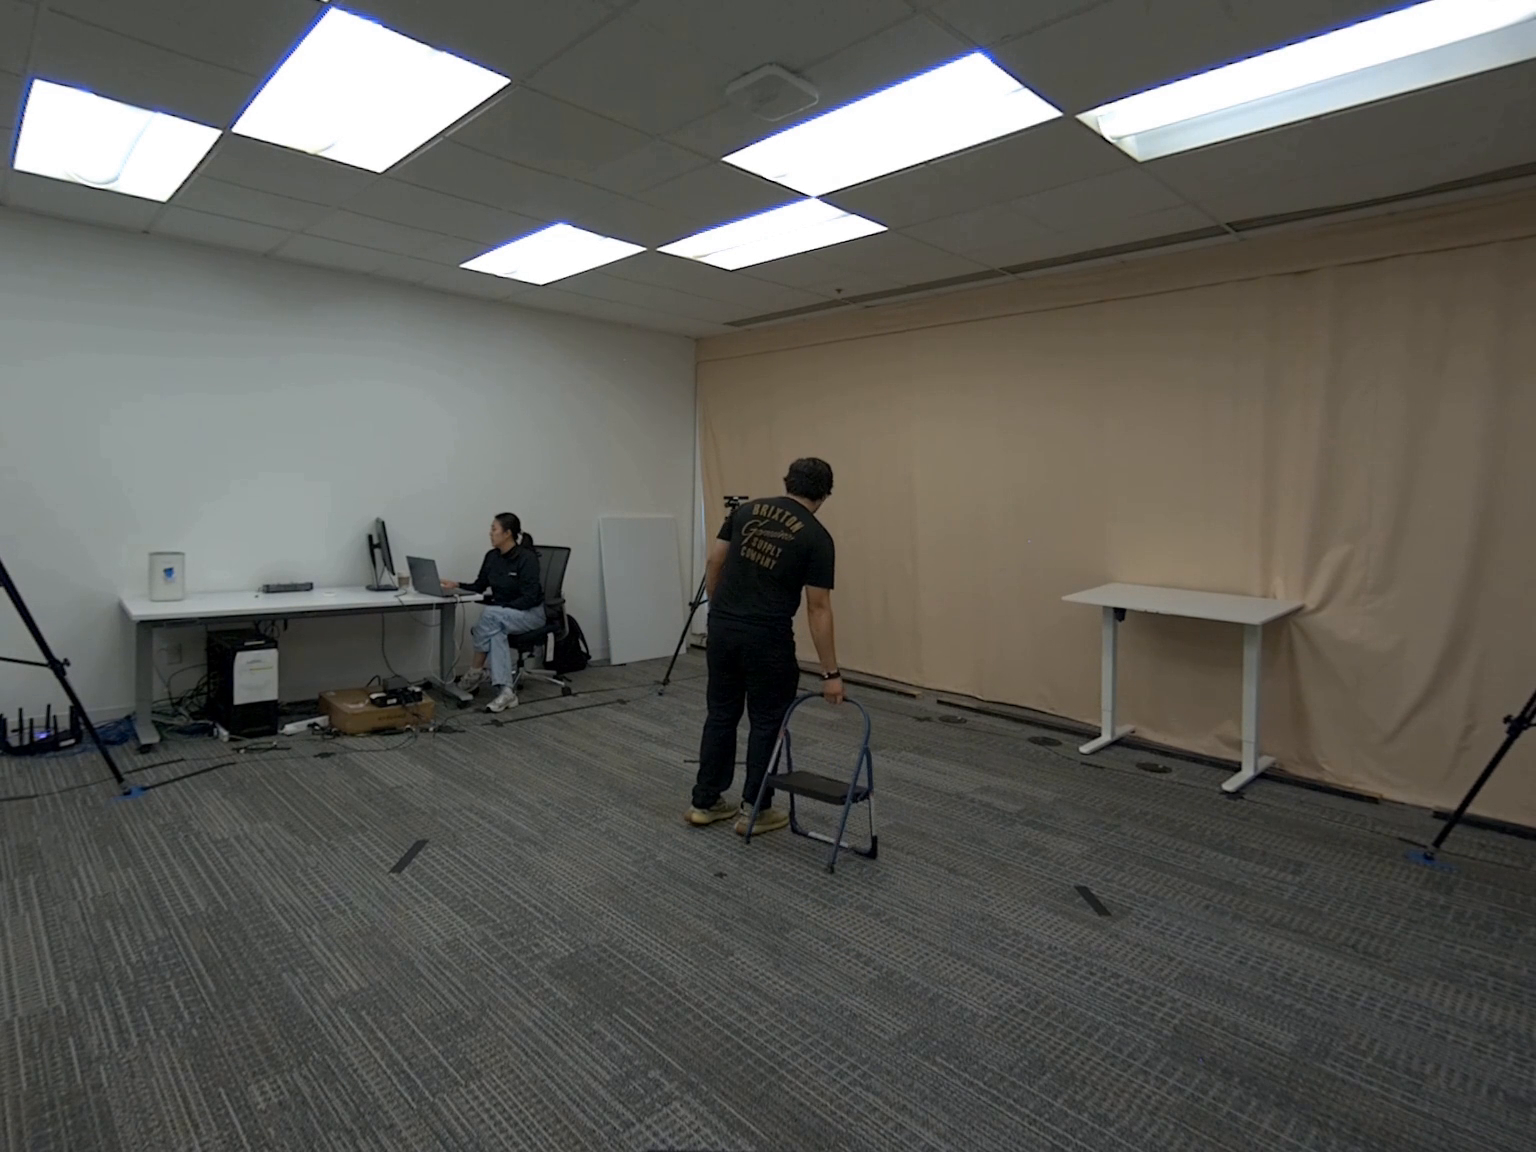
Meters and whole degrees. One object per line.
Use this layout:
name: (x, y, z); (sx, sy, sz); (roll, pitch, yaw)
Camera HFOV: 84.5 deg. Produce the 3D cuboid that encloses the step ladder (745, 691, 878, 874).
step ladder: (0.195, 0.774, 3.297); (0.441, 0.607, 0.340); (3, -4, 39)
